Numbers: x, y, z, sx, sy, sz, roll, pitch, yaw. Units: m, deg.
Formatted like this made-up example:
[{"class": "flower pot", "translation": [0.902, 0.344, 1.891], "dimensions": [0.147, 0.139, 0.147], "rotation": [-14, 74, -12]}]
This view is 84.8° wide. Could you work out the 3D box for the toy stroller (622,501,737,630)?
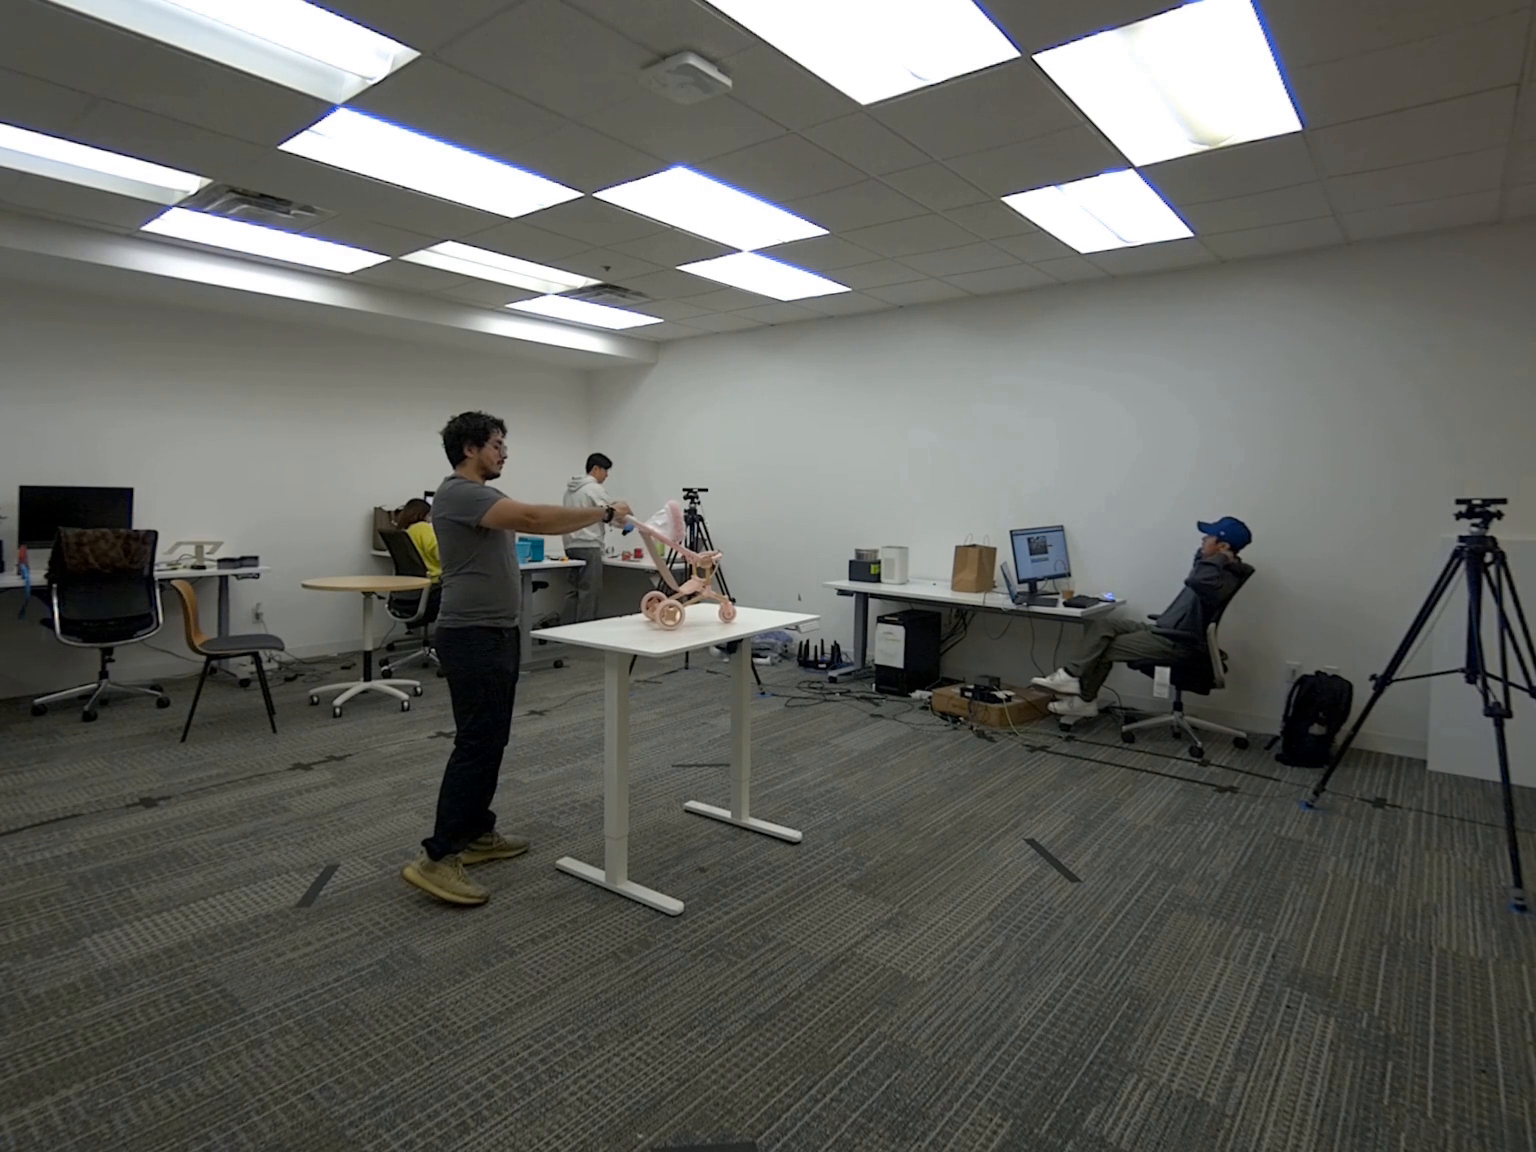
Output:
[{"class": "toy stroller", "translation": [-0.344, -0.040, 3.156], "dimensions": [0.338, 0.531, 0.286], "rotation": [-16, 7, -13]}]
